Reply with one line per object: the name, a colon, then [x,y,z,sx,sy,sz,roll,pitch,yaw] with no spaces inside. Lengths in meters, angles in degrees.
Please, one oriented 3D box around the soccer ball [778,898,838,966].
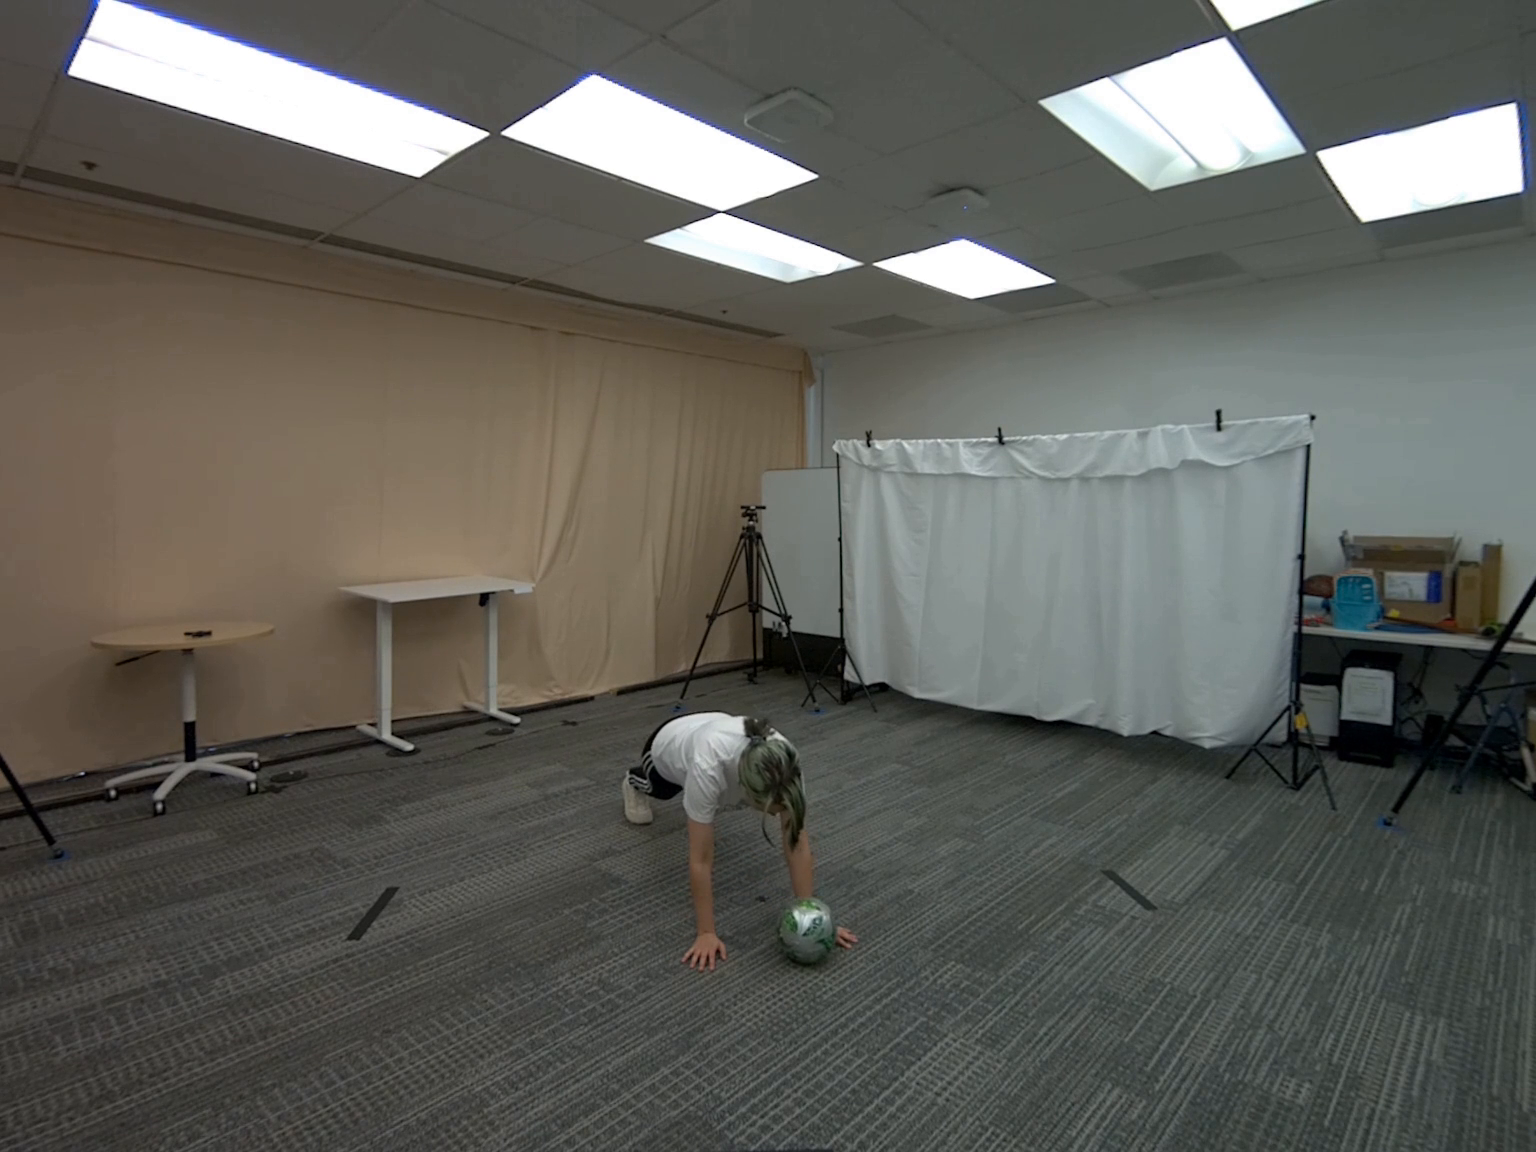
soccer ball: [0.122,1.085,2.579,0.187,0.187,0.188,0,4,-2]
